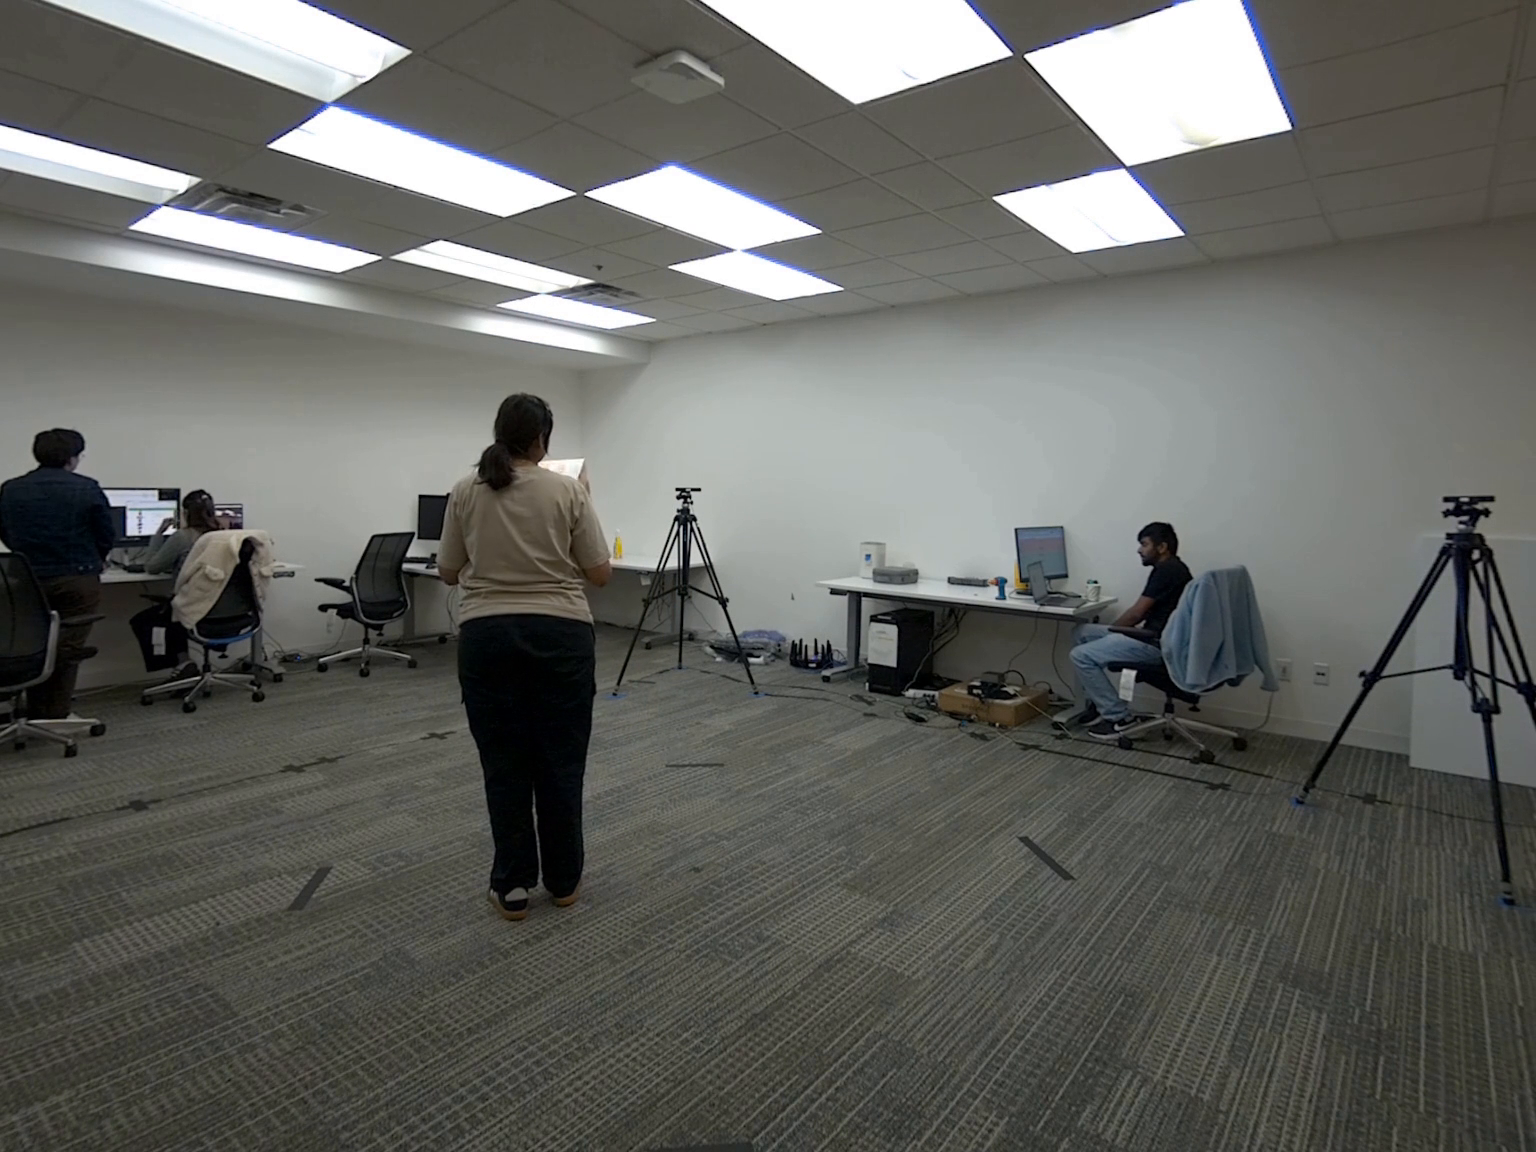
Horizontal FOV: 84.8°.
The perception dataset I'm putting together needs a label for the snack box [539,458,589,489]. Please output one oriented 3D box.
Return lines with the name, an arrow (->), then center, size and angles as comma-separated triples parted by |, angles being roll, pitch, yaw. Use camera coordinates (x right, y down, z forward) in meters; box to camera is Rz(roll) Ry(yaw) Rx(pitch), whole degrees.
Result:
snack box -> -0.883, -0.235, 3.200 | 0.407, 0.330, 0.211 | -2, 35, 4
